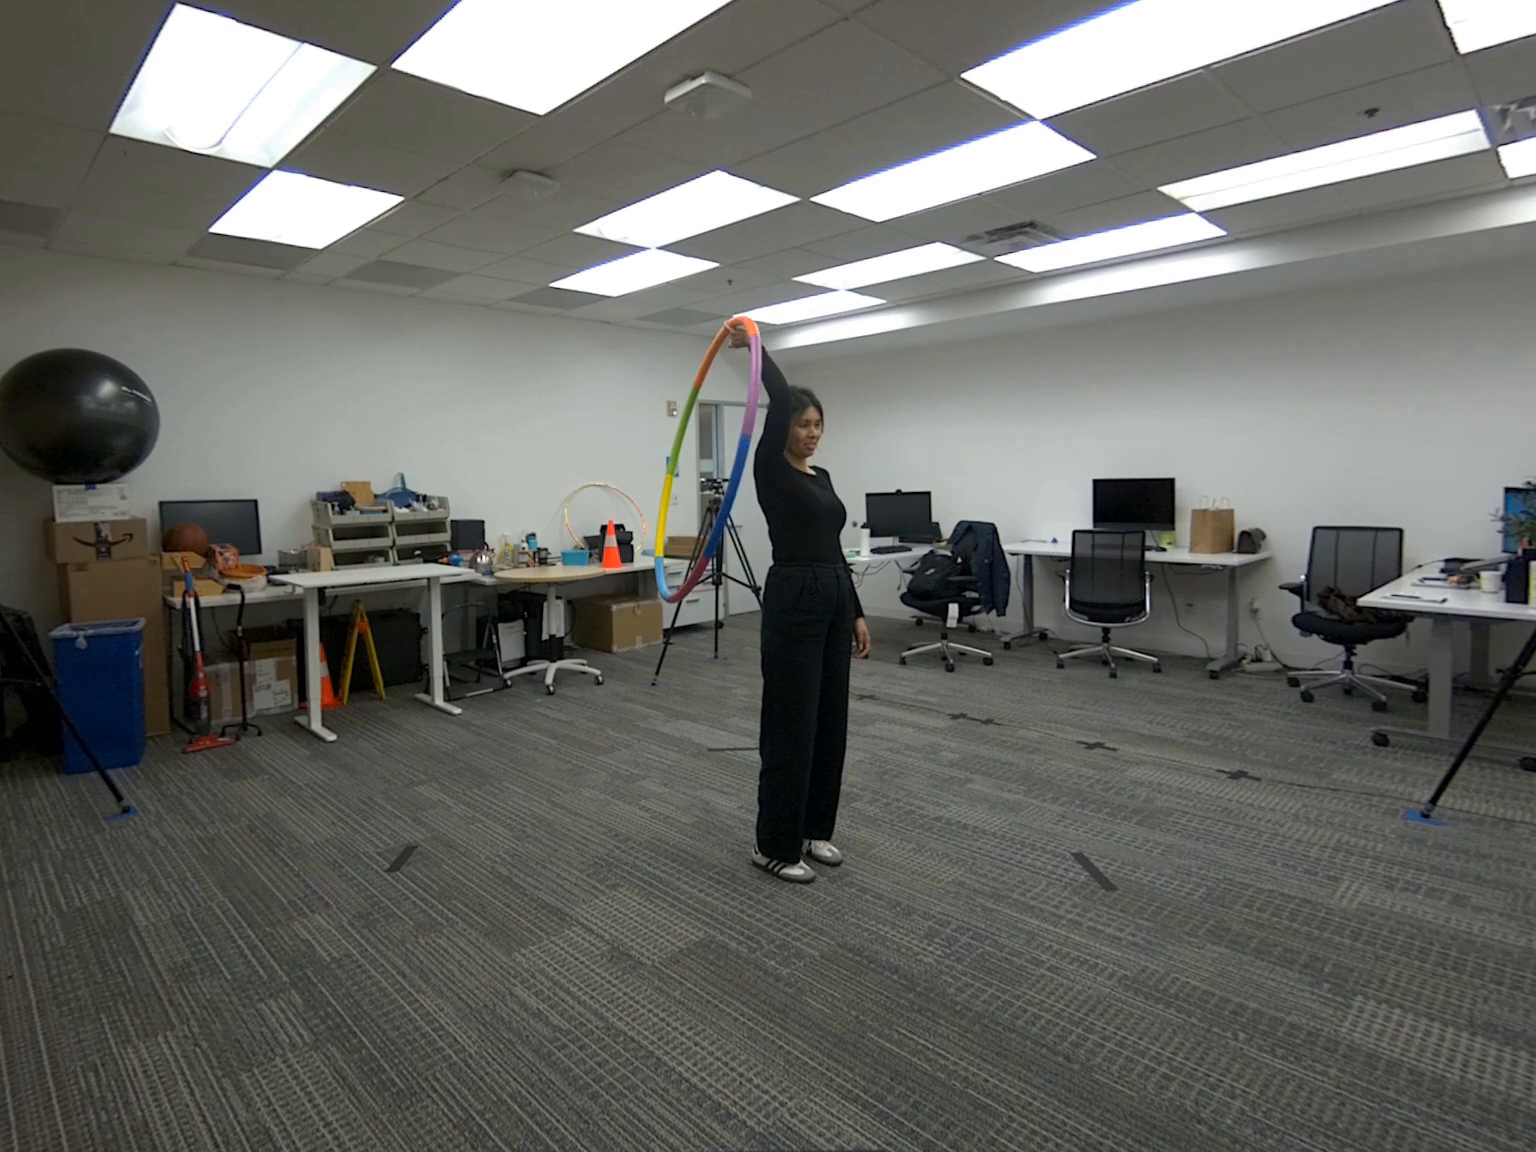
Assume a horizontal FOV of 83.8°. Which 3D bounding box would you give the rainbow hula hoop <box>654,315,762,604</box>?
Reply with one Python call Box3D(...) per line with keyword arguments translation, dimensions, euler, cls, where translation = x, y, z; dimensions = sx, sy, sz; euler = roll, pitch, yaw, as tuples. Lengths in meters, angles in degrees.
Box3D(translation=(-0.214, -0.406, 2.914), dimensions=(0.050, 0.985, 1.005), euler=(13, 0, -19), cls="rainbow hula hoop")
